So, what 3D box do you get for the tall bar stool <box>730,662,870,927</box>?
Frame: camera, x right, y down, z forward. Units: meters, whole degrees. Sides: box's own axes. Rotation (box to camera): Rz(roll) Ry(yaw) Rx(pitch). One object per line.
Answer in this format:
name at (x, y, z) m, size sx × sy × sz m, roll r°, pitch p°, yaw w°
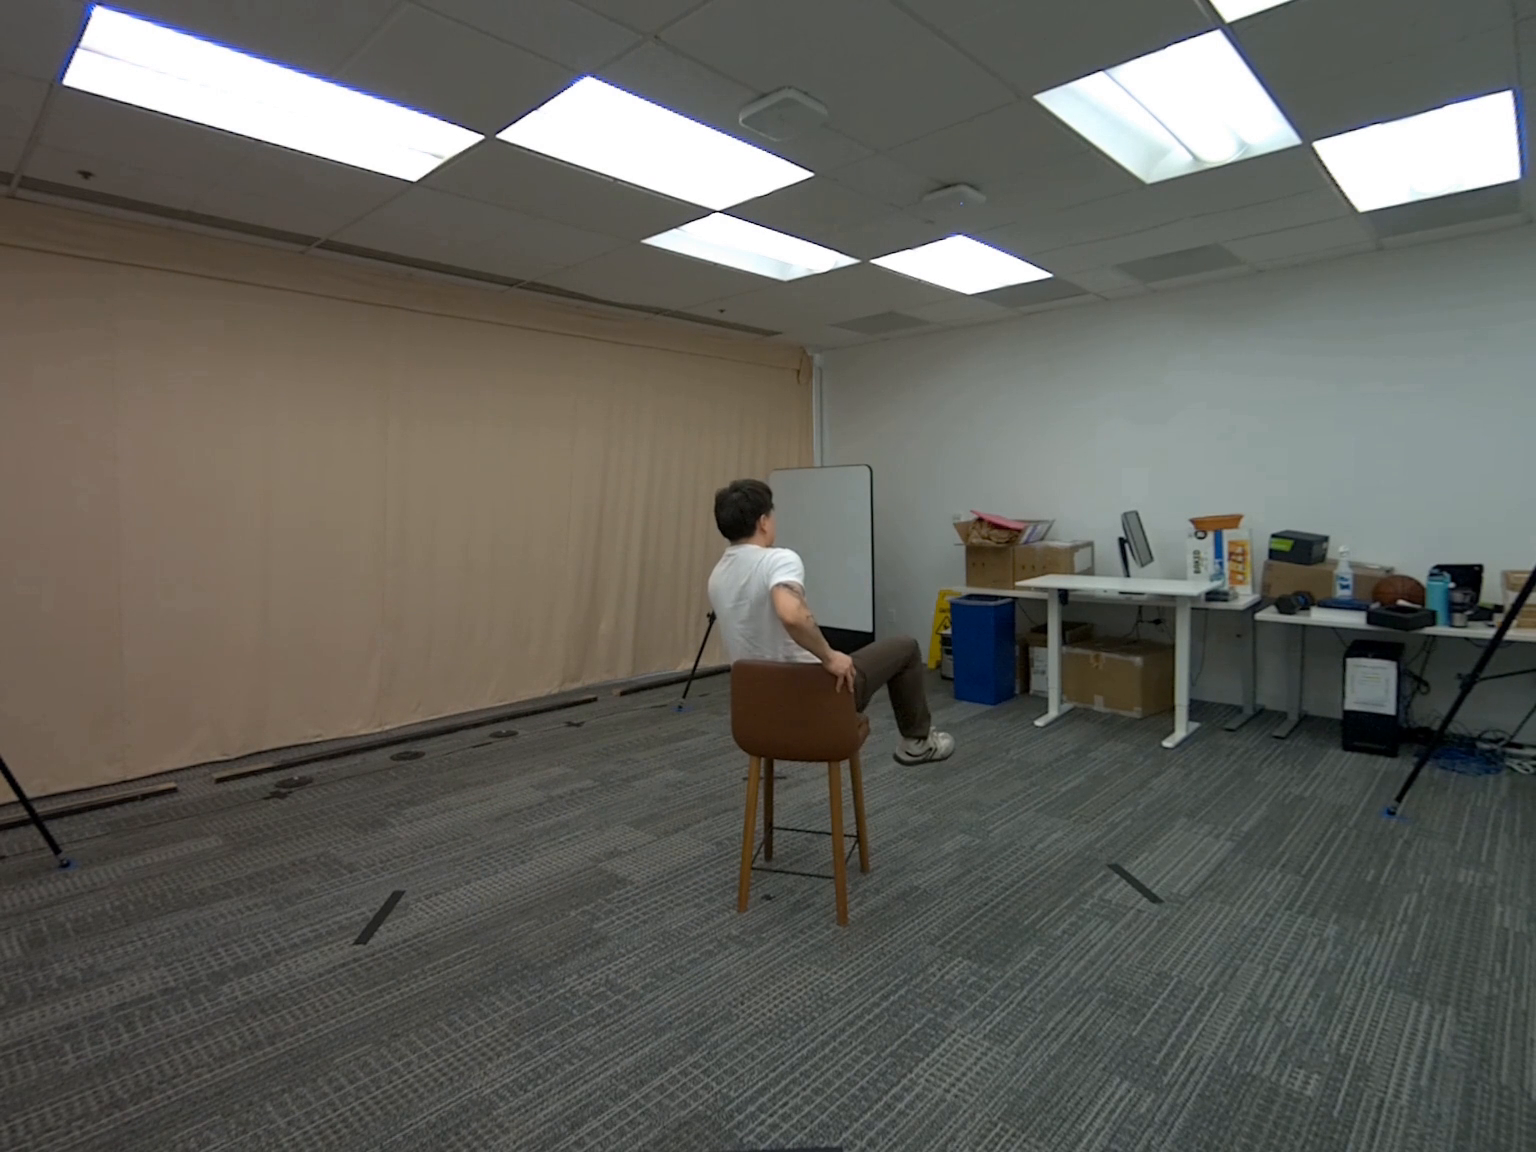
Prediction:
tall bar stool at (0.126, 0.702, 3.005) m, size 0.465 × 0.887 × 0.460 m, roll 0°, pitch 5°, yaw 17°
